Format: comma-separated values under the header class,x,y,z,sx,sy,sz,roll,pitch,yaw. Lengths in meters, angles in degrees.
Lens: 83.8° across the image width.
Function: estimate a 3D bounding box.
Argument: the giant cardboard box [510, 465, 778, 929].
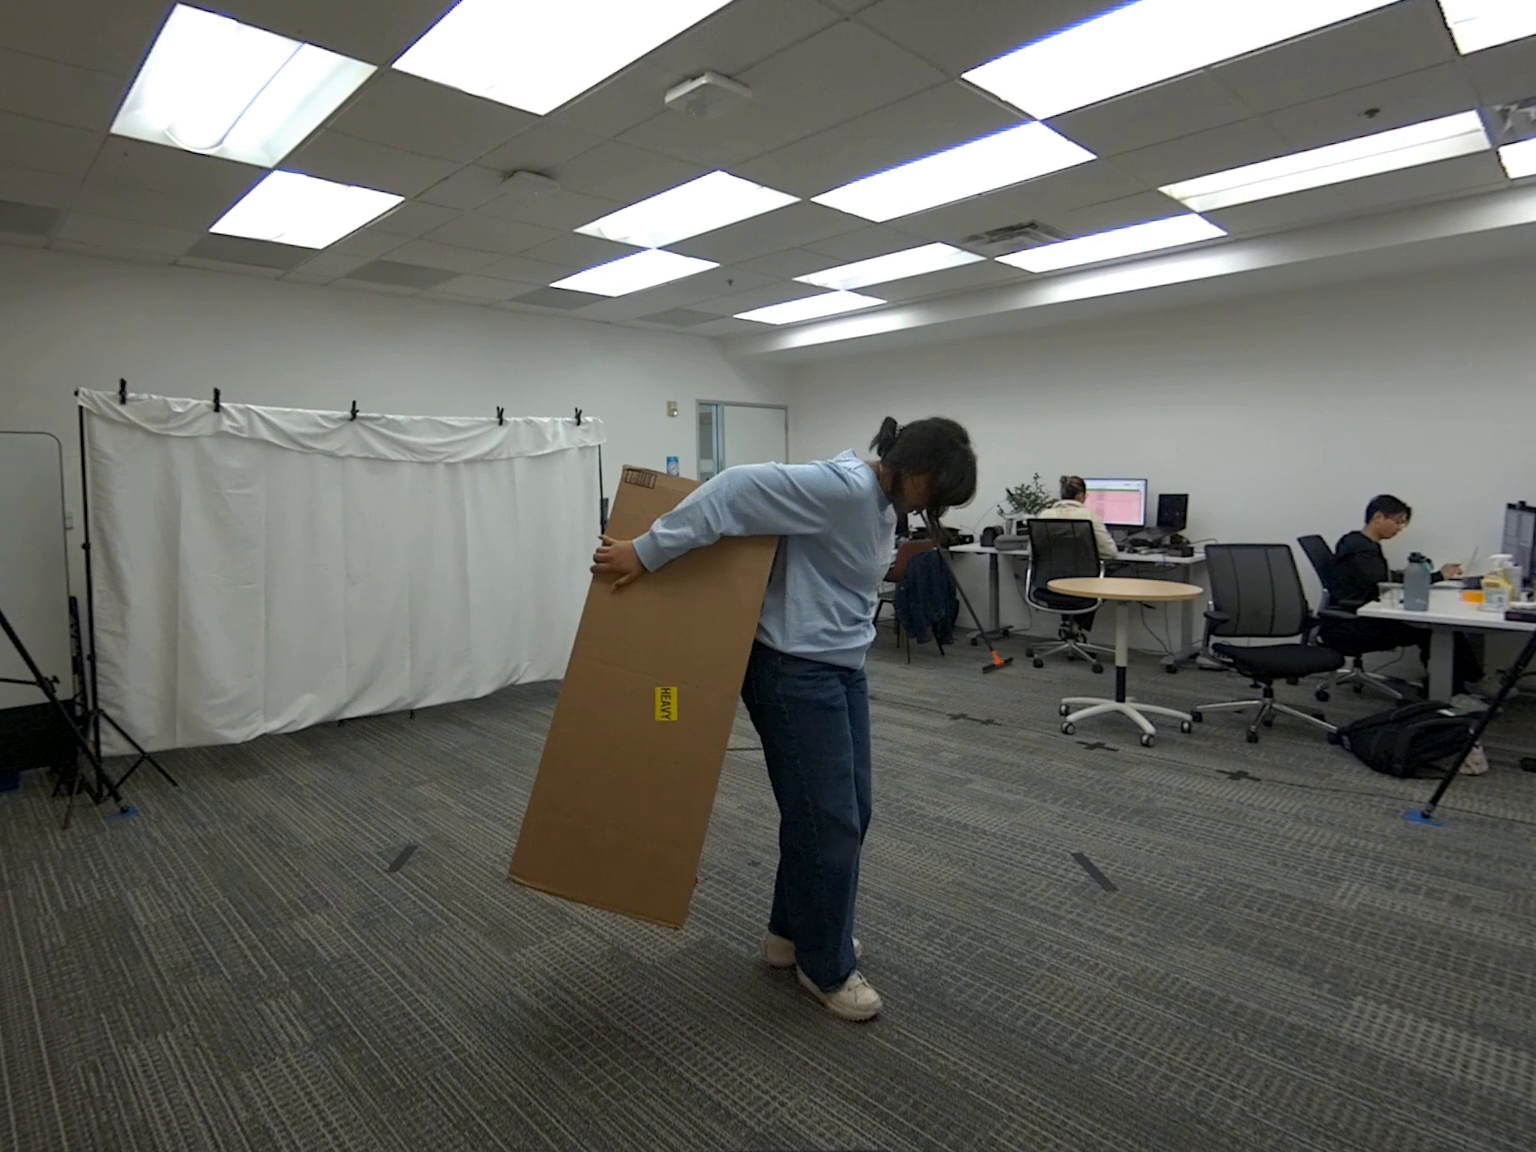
class,x,y,z,sx,sy,sz,roll,pitch,yaw
giant cardboard box,-0.283,0.302,2.307,0.427,1.033,0.572,13,-10,1
